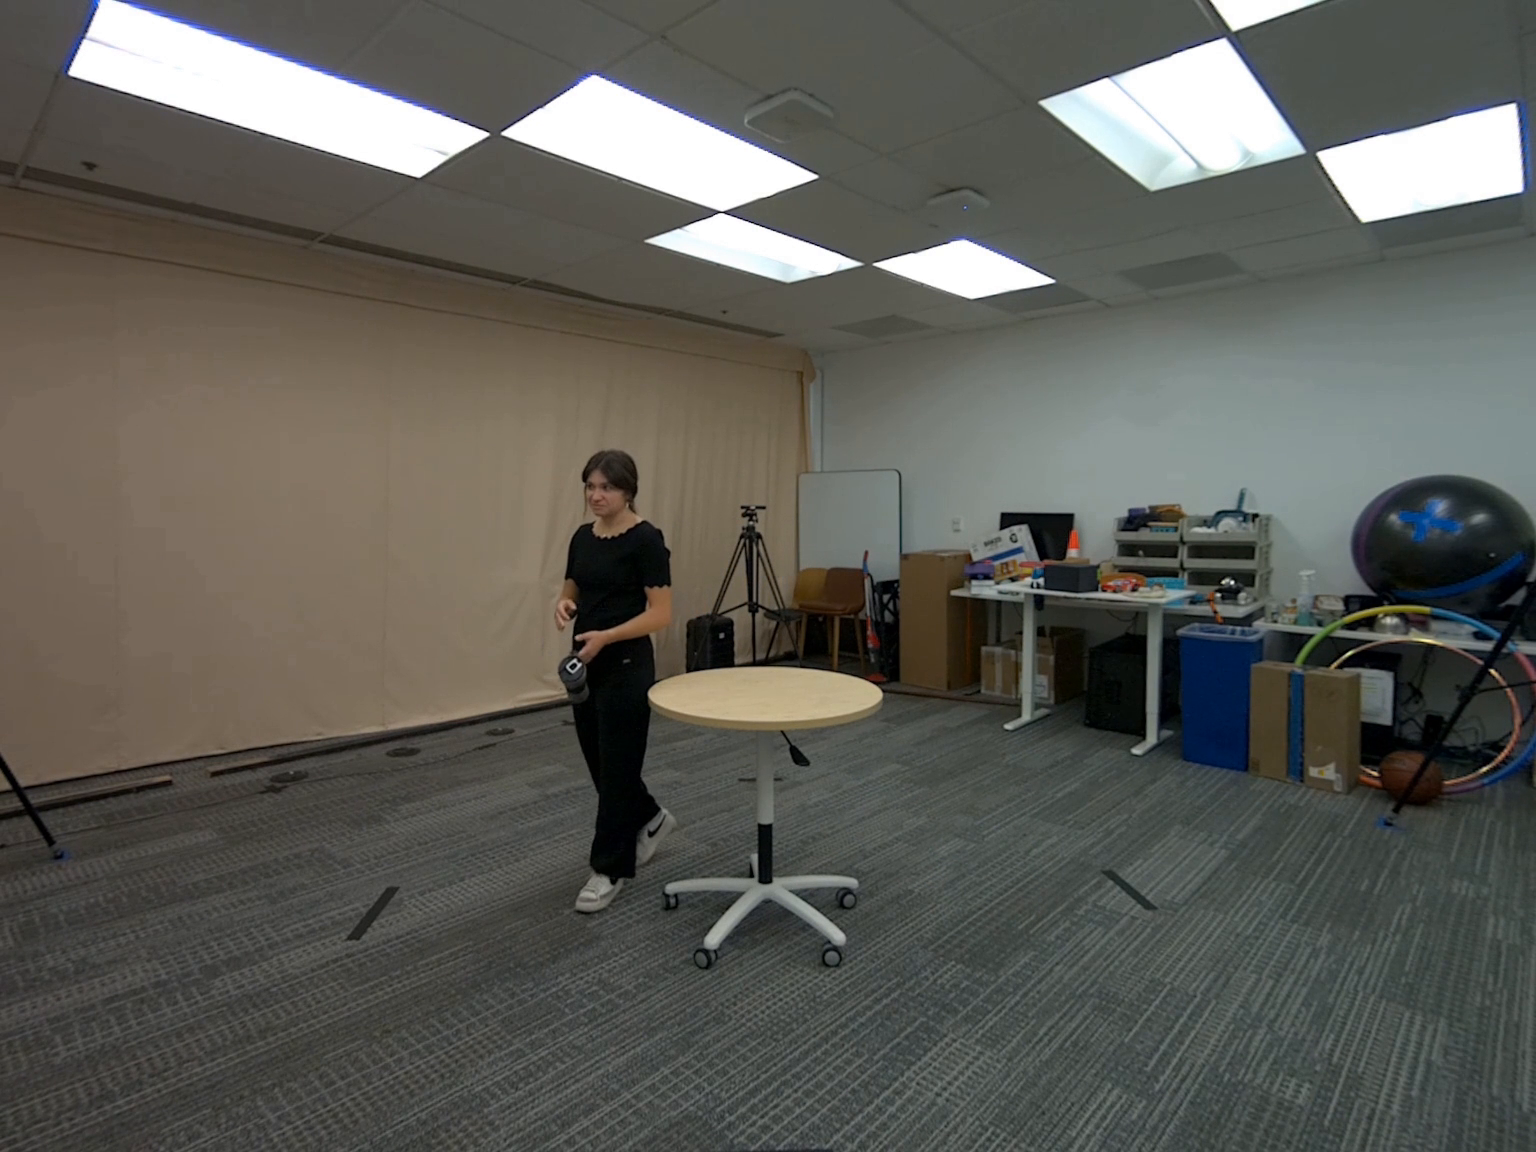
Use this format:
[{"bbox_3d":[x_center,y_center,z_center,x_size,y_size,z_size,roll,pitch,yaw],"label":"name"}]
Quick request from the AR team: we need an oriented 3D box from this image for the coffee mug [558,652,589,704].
[{"bbox_3d":[-0.622,0.330,2.787,0.090,0.122,0.199,26,-27,15],"label":"coffee mug"}]
